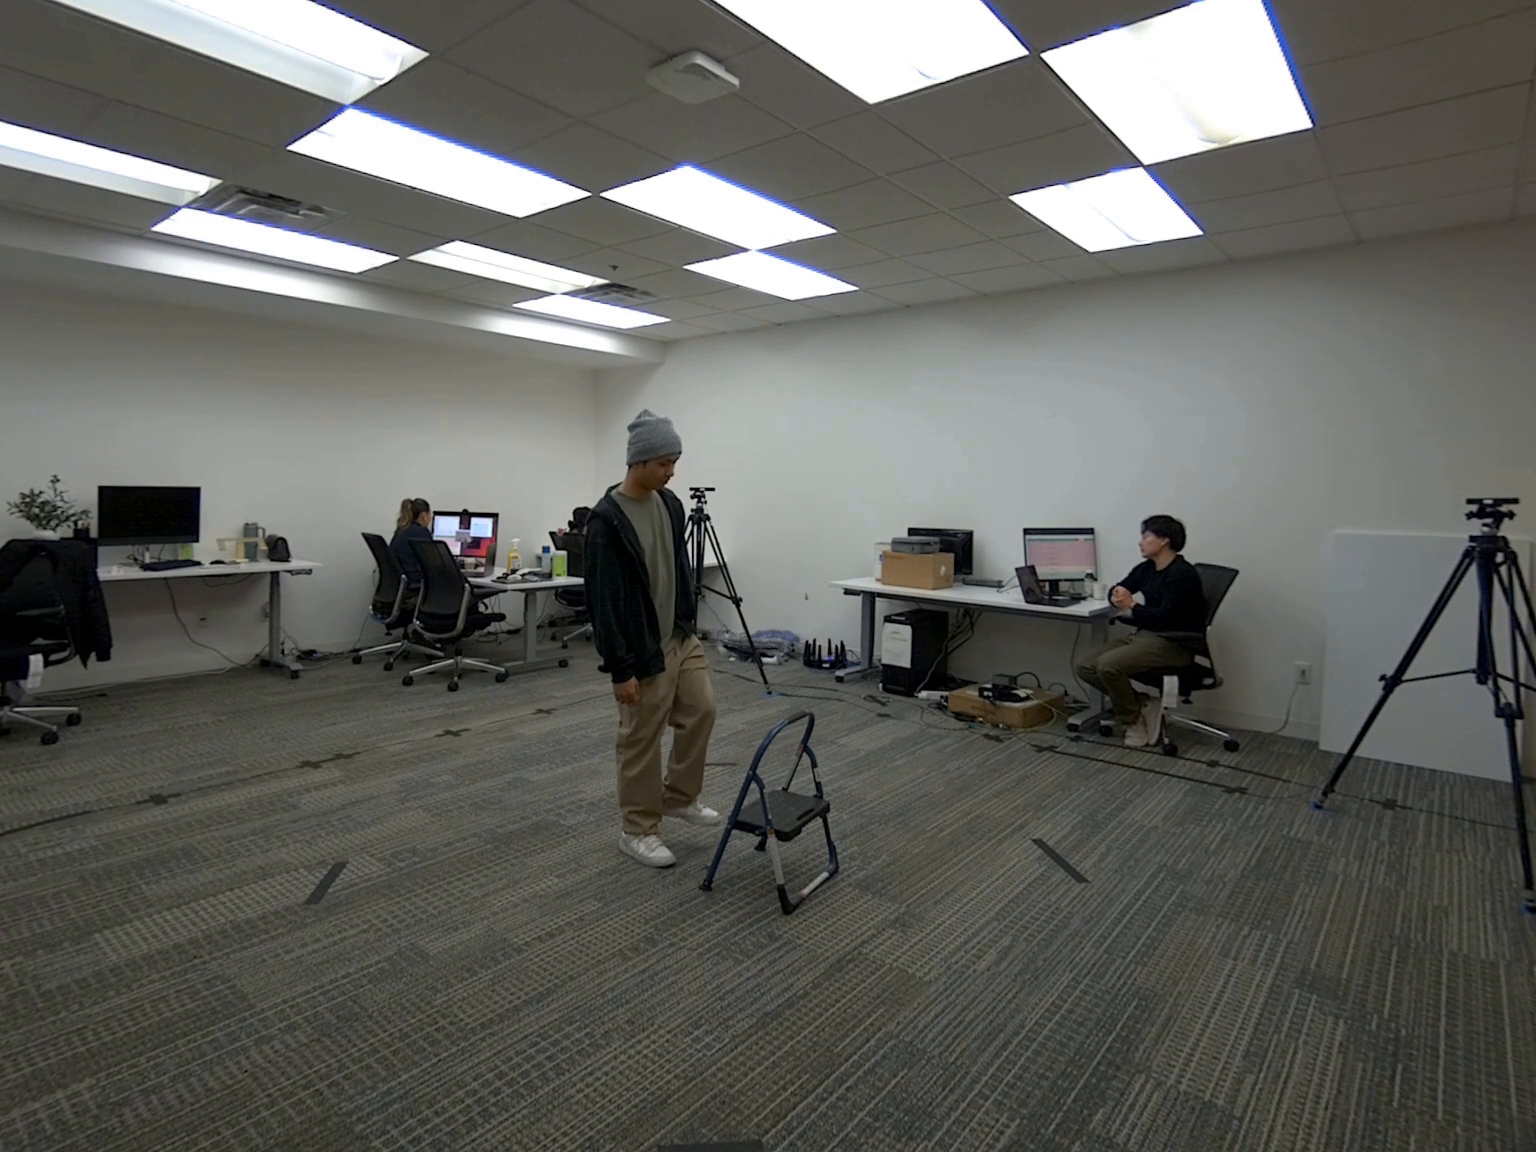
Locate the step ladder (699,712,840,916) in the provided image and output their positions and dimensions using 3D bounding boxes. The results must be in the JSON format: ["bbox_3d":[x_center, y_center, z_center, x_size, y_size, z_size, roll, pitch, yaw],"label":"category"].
[{"bbox_3d":[0.014,0.776,3.017,0.359,0.604,0.420,3,4,29],"label":"step ladder"}]
